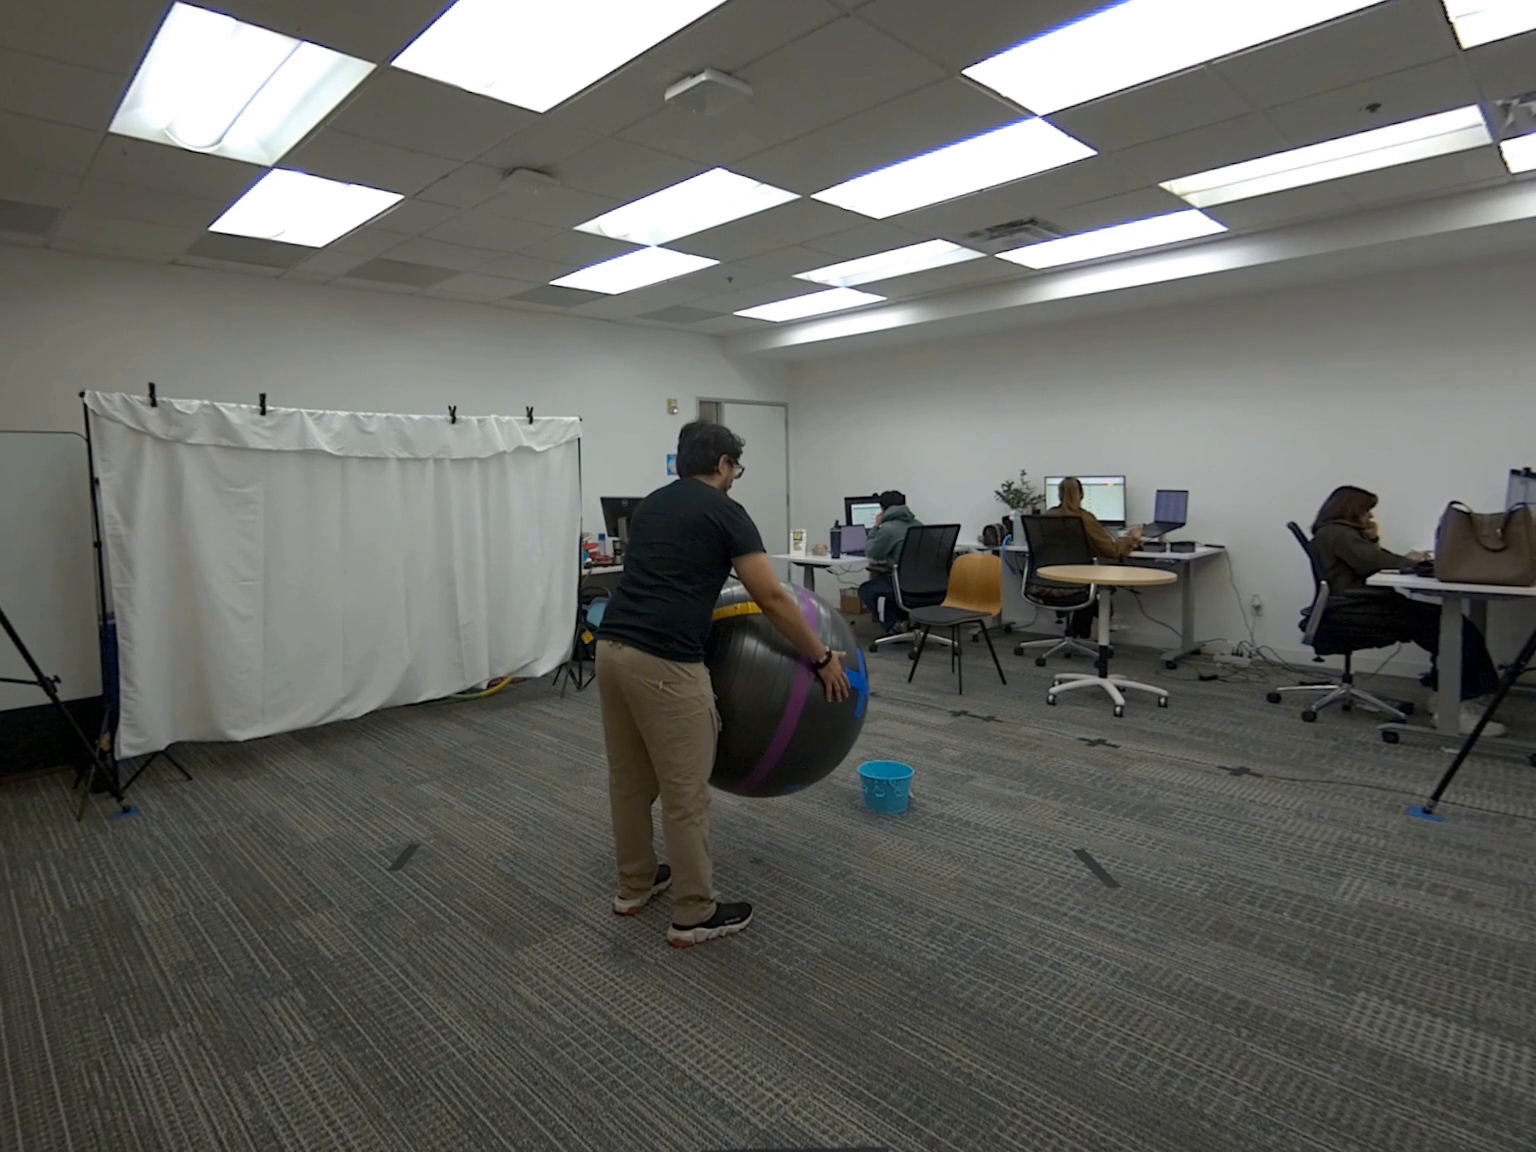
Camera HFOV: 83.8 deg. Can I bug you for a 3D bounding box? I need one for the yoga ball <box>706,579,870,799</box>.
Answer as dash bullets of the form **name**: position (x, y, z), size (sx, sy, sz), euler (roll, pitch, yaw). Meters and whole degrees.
- **yoga ball**: position (-0.026, 0.392, 3.019), size (0.757, 0.755, 0.762), euler (-1, 5, -2)
